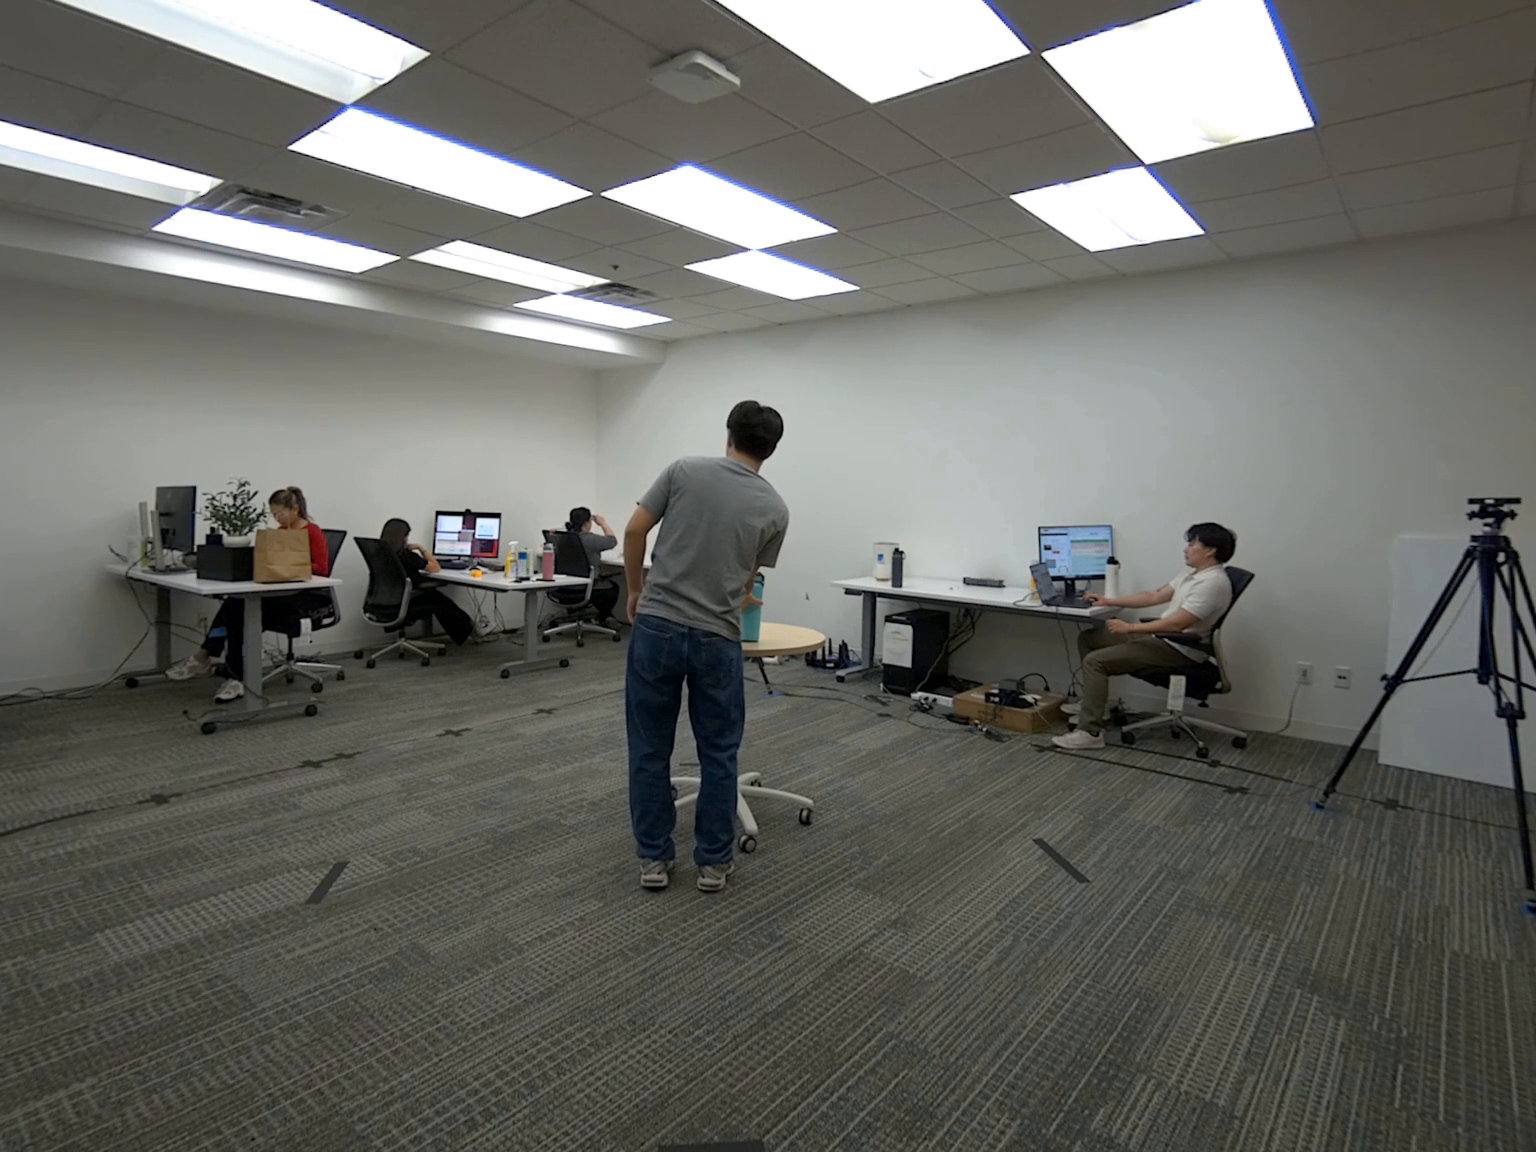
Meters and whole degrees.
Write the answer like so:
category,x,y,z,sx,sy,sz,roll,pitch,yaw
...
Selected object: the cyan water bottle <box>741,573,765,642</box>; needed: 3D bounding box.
category,x,y,z,sx,sy,sz,roll,pitch,yaw
cyan water bottle,-0.075,0.113,3.399,0.092,0.284,0.092,6,-1,-2
